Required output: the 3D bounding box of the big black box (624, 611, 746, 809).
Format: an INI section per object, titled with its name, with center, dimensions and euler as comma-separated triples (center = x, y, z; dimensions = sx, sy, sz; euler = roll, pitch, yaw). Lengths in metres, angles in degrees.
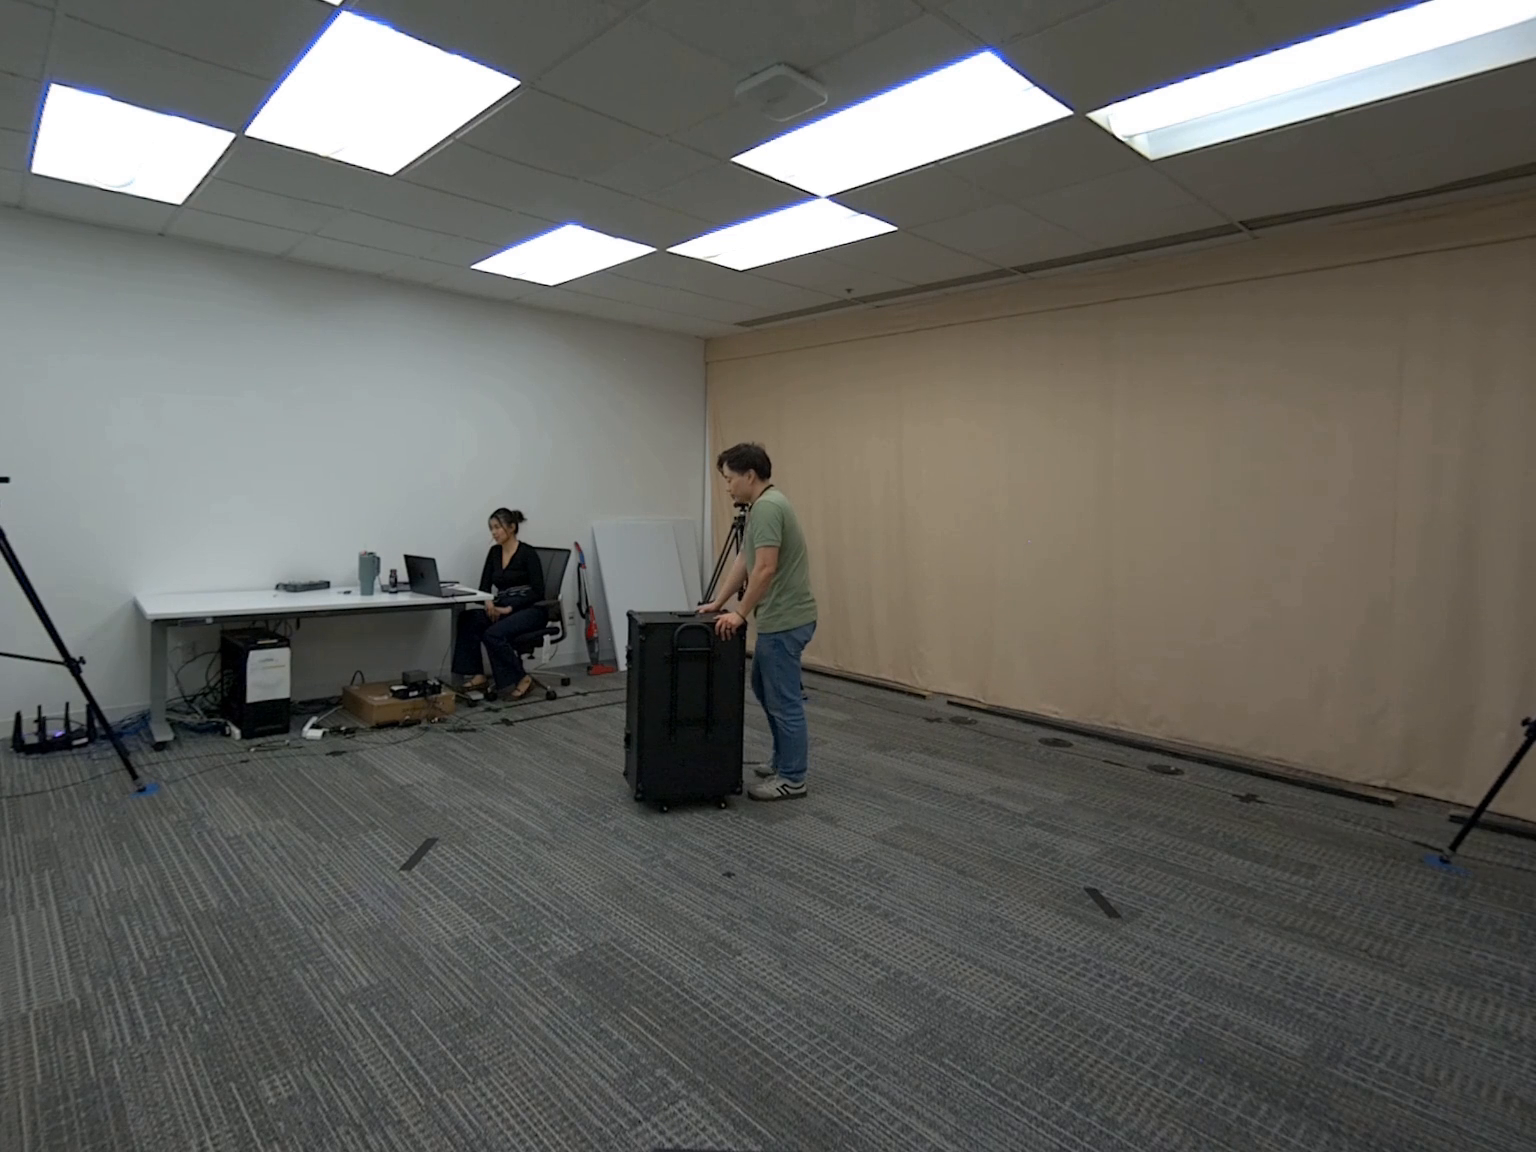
[big black box]
center = -0.389, 0.609, 3.835
dimensions = 0.514, 0.859, 0.402
euler = 1, 4, -17
